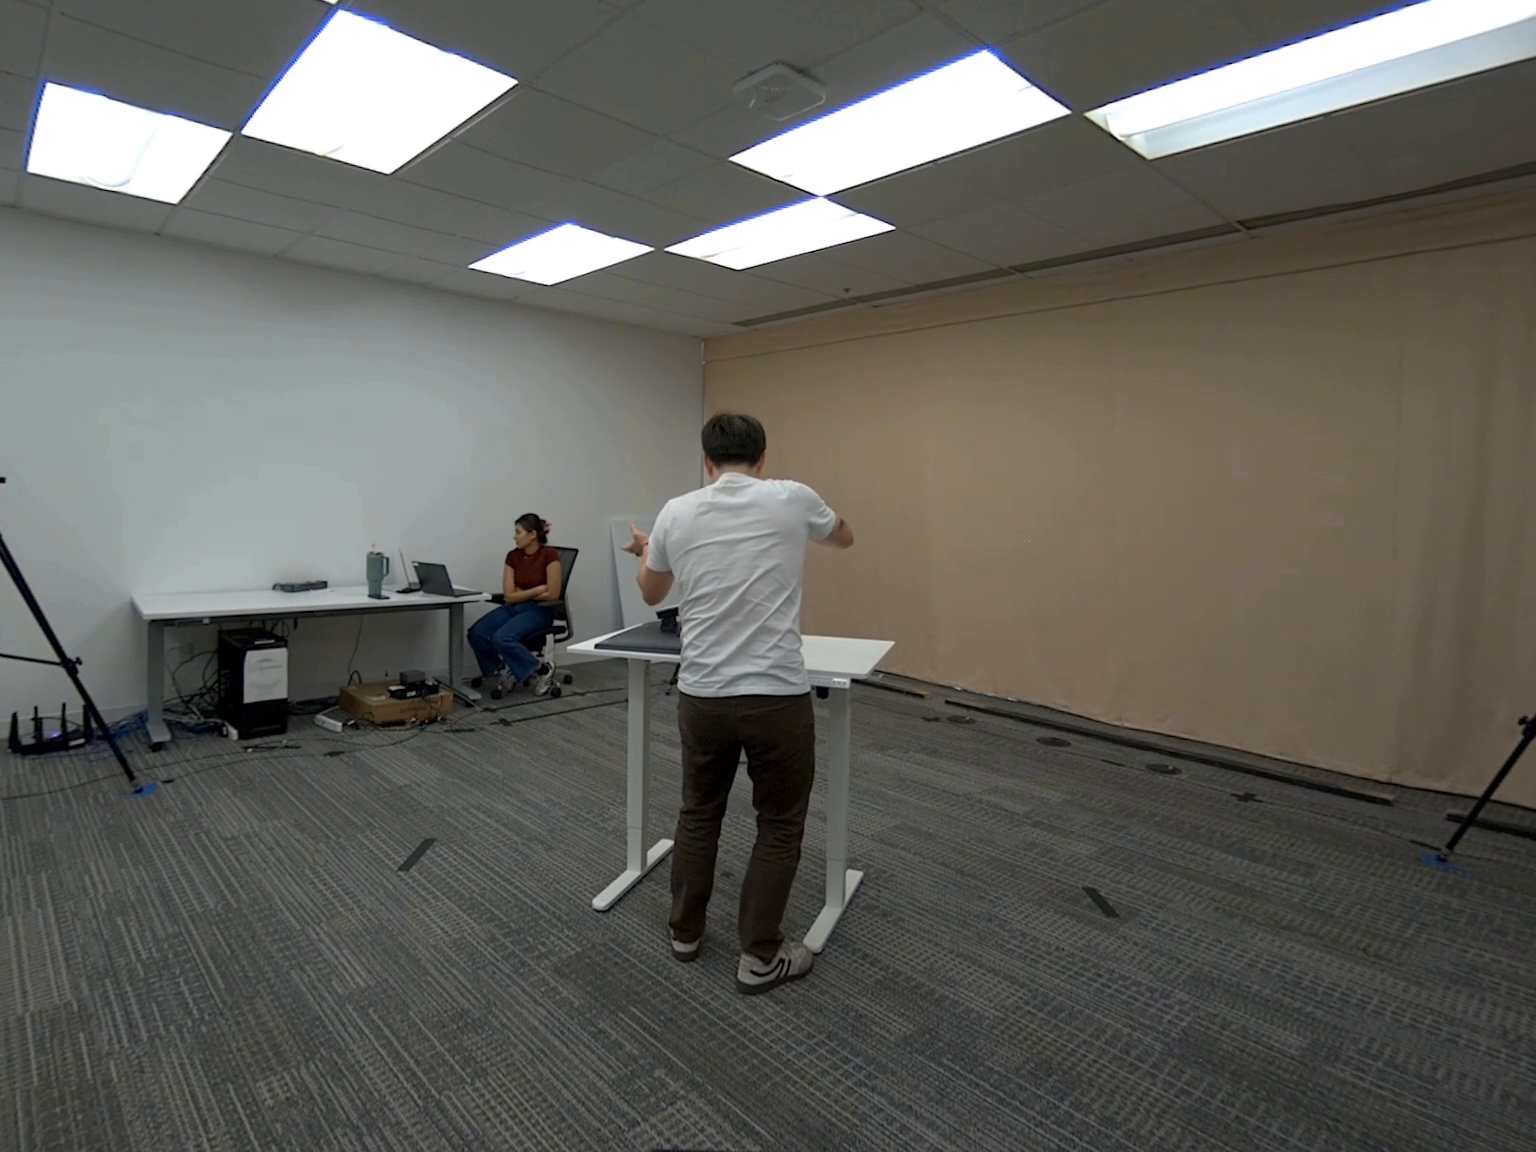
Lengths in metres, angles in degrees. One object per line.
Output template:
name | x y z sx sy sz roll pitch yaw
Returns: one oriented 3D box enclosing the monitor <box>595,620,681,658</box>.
monitor | -0.270 0.171 2.962 0.527 0.187 0.533 -16 -1 15
